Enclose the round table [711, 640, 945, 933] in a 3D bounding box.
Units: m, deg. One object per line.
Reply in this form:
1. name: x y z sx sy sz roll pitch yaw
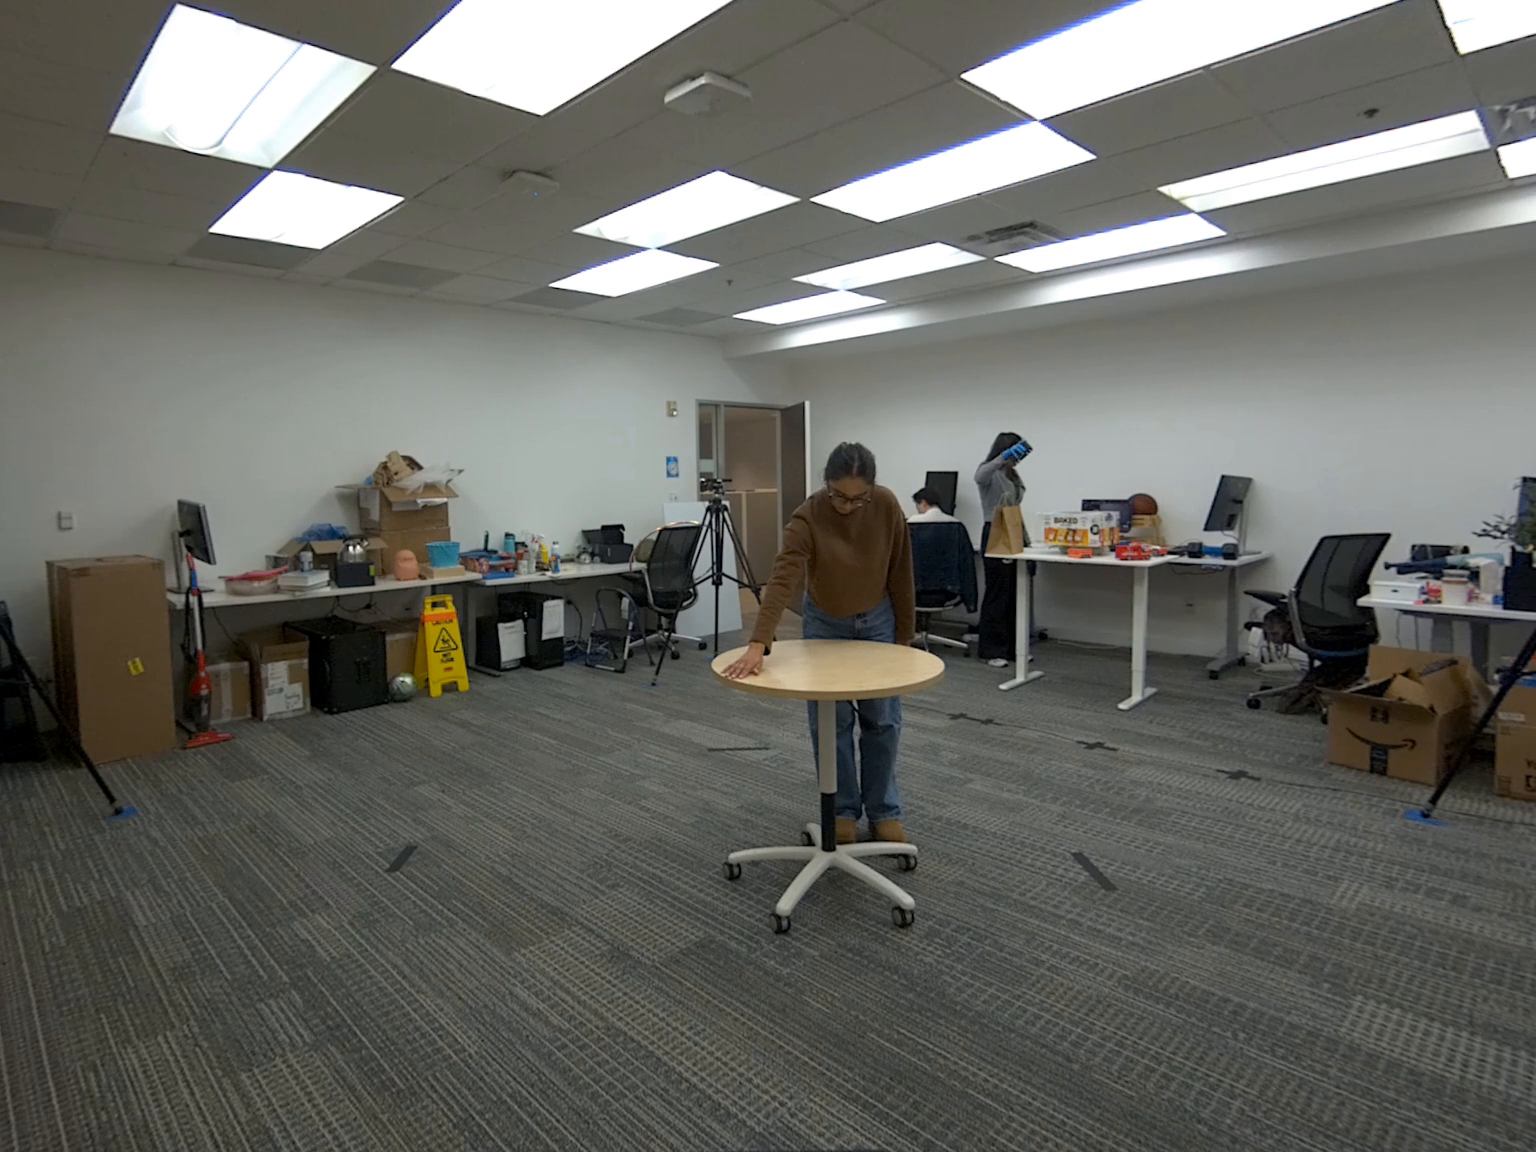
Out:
1. round table: 0.204 0.680 2.870 0.763 0.791 0.768 -1 5 -2
